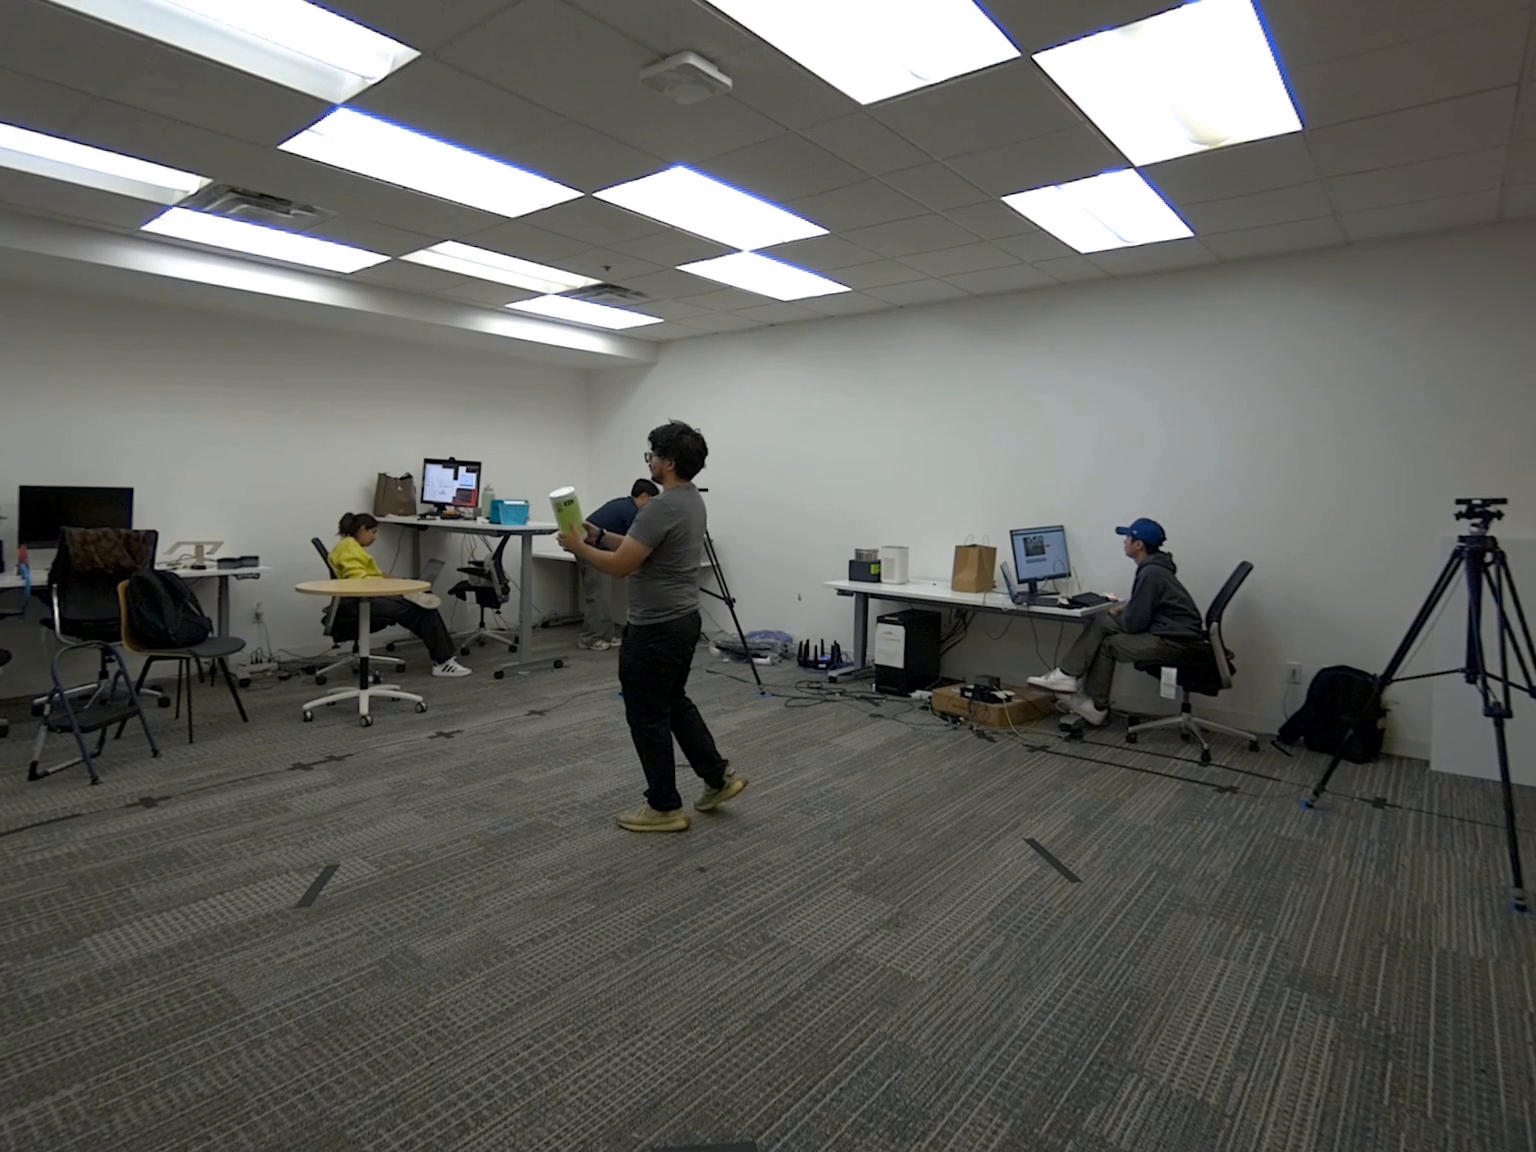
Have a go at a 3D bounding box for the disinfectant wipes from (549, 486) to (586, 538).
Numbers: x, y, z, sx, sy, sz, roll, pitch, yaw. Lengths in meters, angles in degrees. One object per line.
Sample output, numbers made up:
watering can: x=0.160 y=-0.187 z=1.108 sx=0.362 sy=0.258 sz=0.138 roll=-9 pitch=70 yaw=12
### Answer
disinfectant wipes: x=-0.836 y=-0.255 z=3.517 sx=0.118 sy=0.212 sz=0.120 roll=-10 pitch=21 yaw=2
